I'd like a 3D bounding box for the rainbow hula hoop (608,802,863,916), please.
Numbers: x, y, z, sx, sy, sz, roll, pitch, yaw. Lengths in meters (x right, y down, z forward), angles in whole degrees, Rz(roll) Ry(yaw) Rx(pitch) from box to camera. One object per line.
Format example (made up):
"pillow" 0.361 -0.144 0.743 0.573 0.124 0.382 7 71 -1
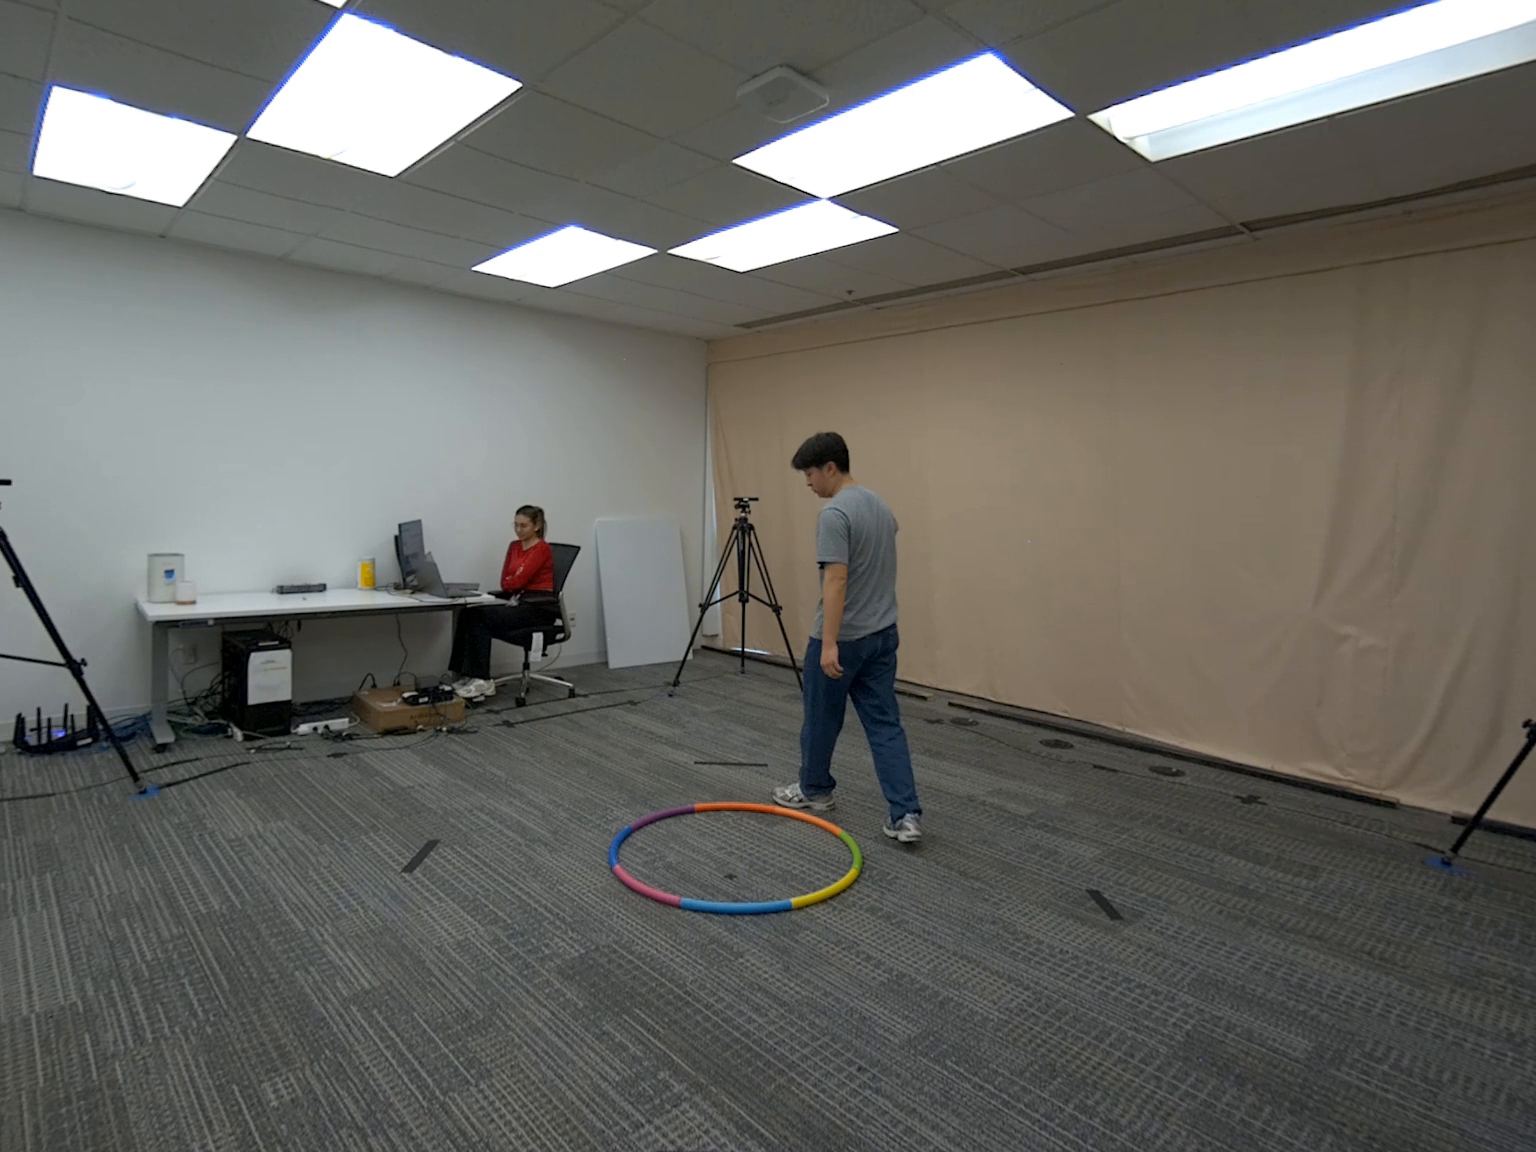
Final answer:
"rainbow hula hoop" -0.139 1.058 3.301 0.978 0.035 0.982 1 5 -1
